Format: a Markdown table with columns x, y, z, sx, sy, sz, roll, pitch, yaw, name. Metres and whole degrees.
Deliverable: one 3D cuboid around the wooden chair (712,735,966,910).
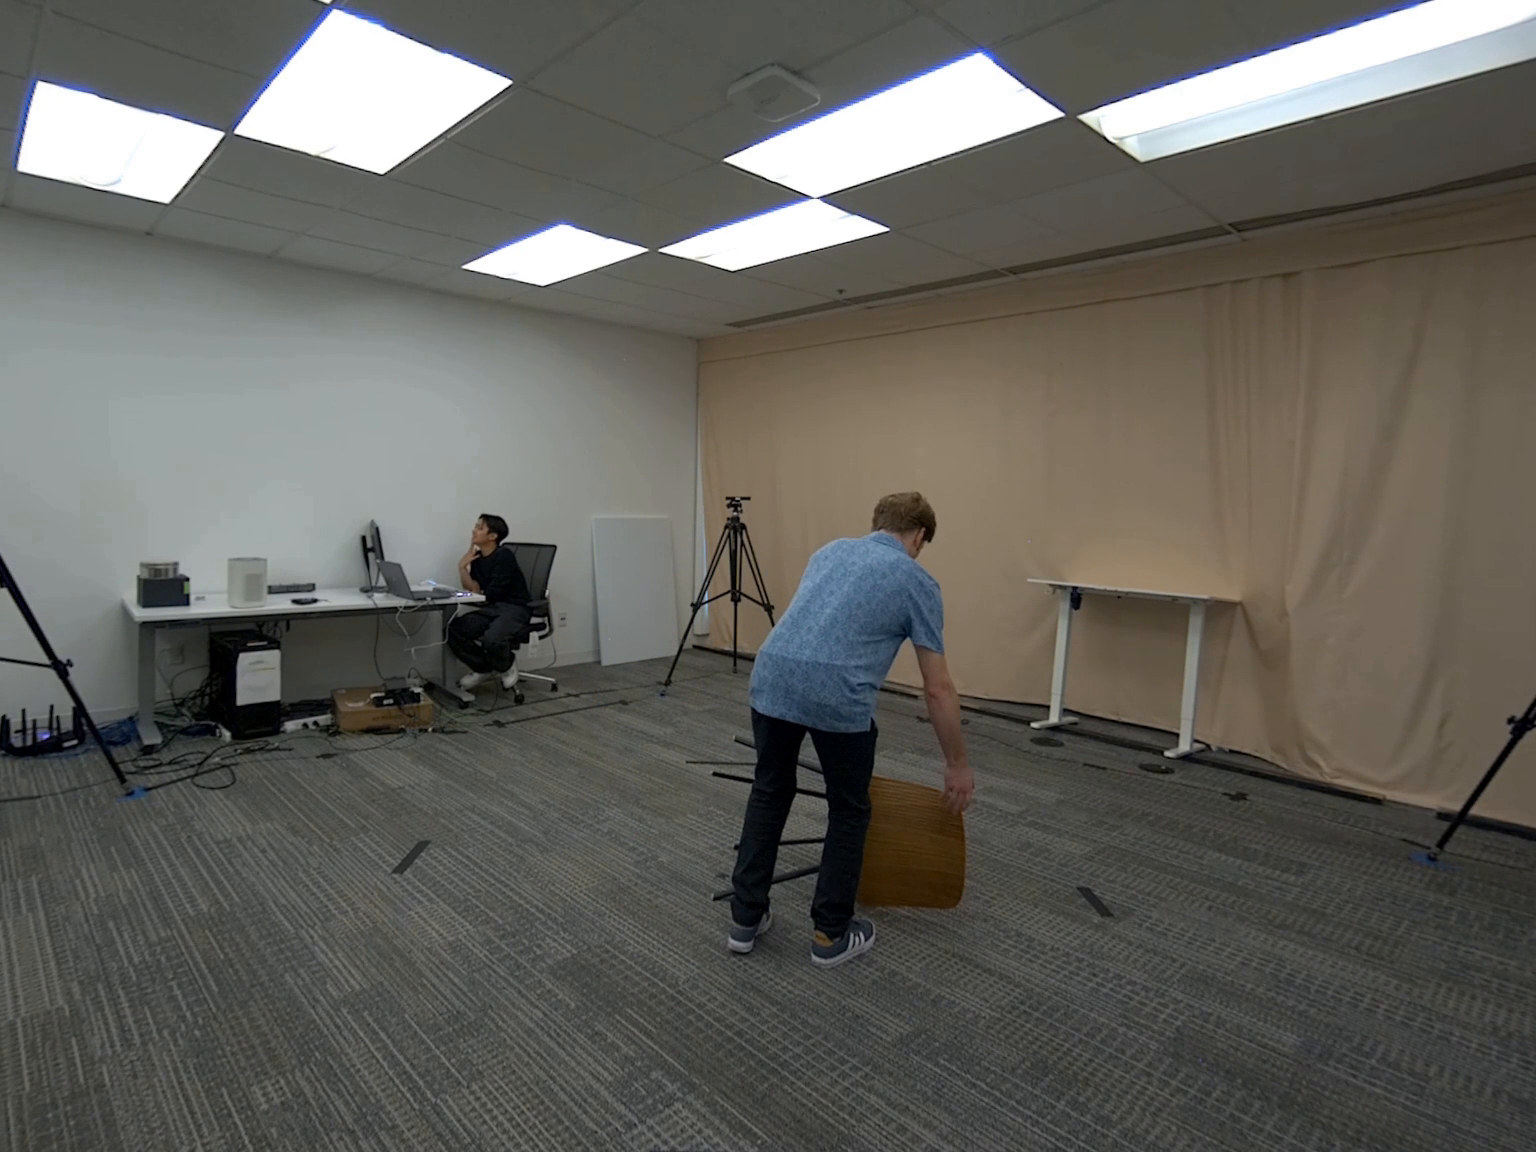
| x | y | z | sx | sy | sz | roll | pitch | yaw | name |
| --- | --- | --- | --- | --- | --- | --- | --- | --- | --- |
| 0.258 | 0.887 | 3.049 | 0.887 | 0.477 | 0.518 | 2 | 4 | 13 | wooden chair |
